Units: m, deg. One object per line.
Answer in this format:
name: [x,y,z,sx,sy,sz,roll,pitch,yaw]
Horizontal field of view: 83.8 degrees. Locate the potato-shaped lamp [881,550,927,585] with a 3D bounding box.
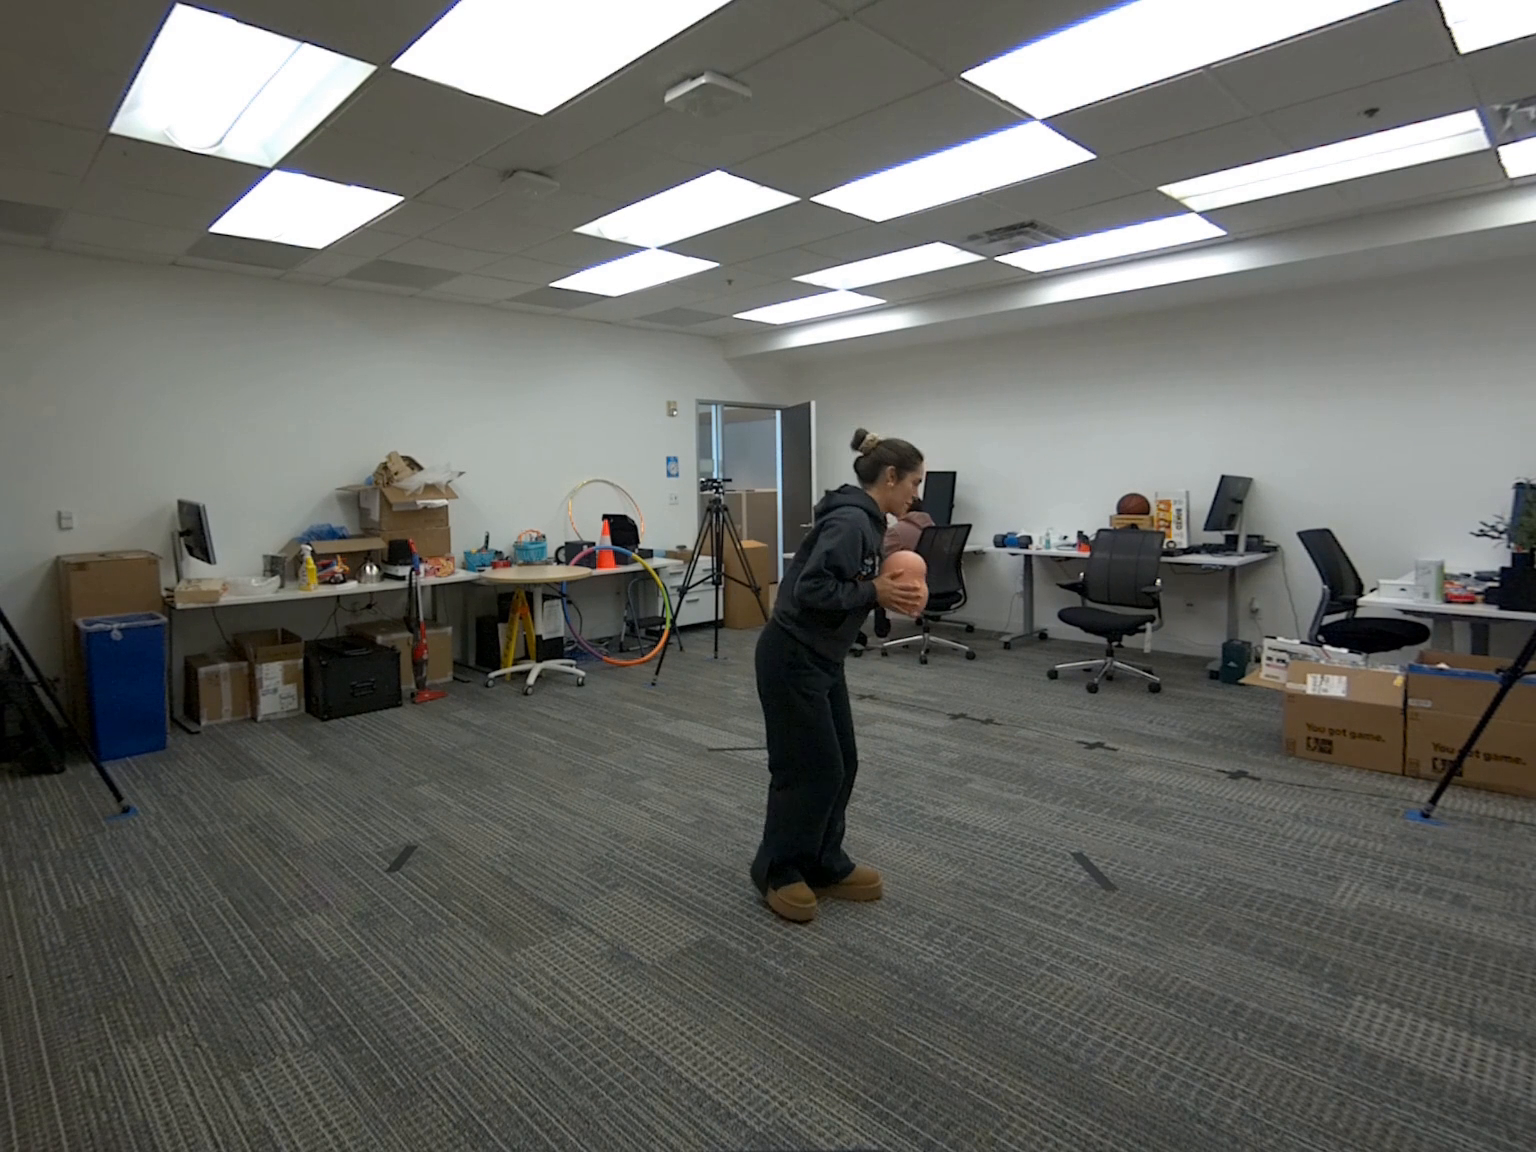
potato-shaped lamp: [0.433,0.022,2.720,0.175,0.197,0.161,15,4,20]
